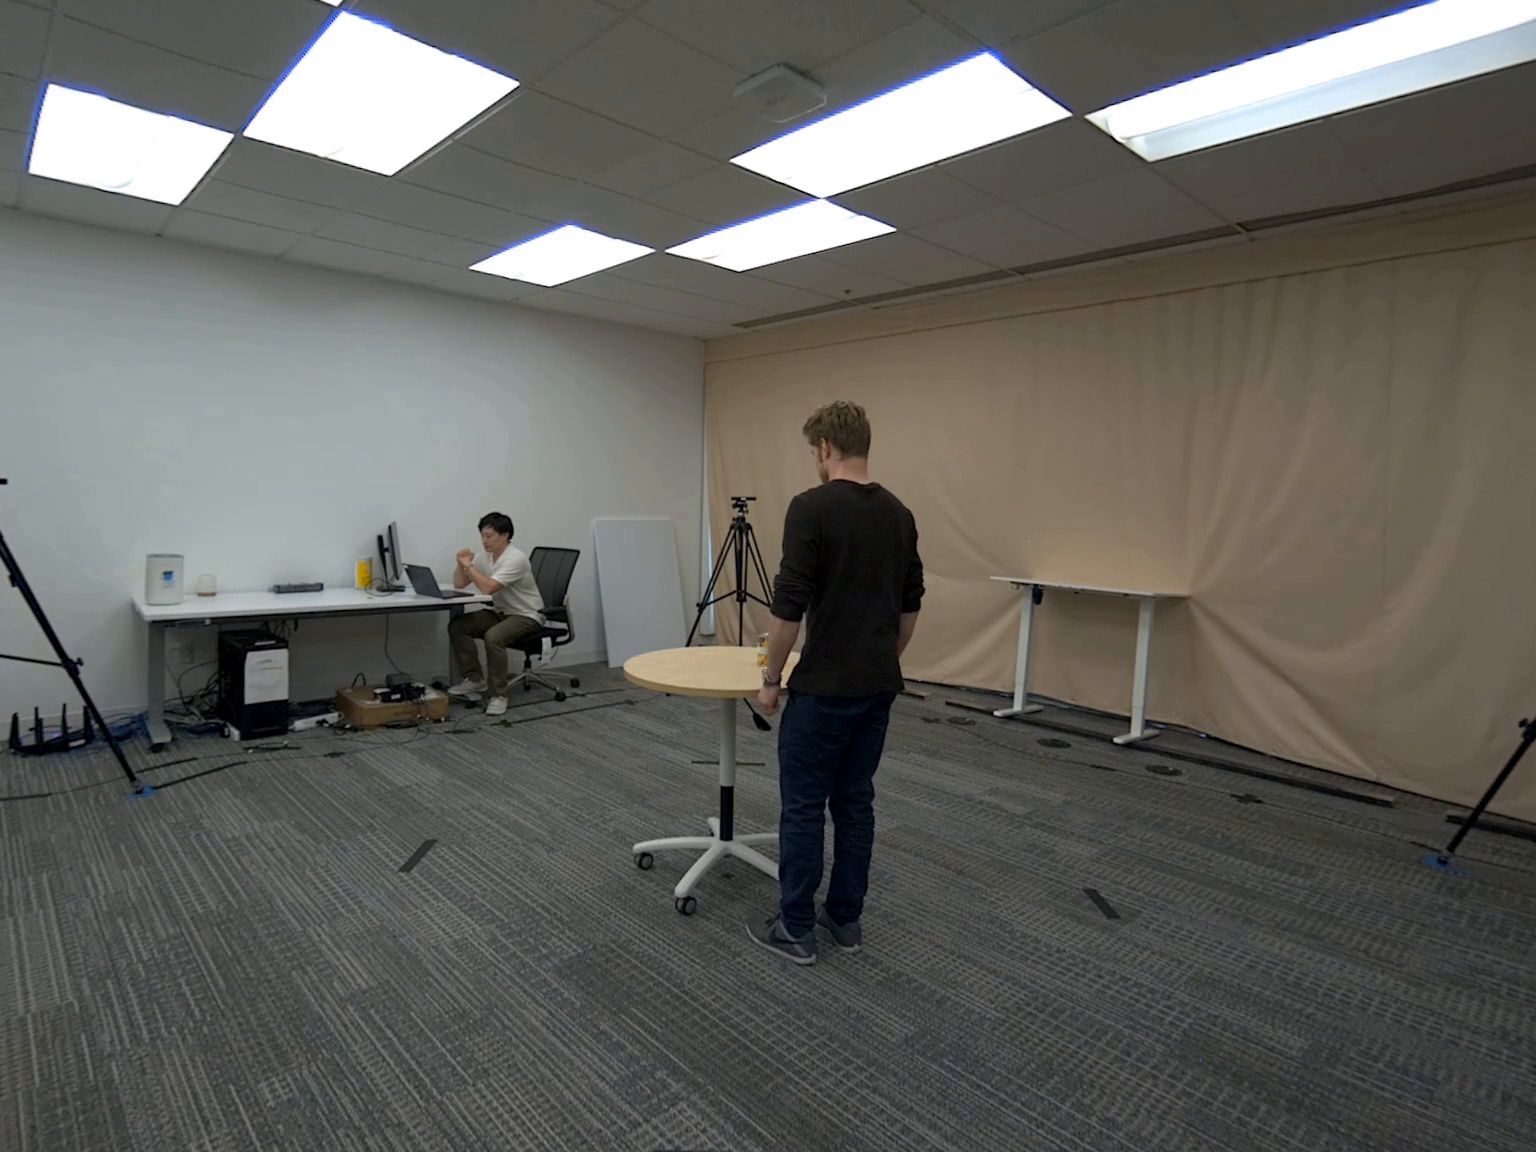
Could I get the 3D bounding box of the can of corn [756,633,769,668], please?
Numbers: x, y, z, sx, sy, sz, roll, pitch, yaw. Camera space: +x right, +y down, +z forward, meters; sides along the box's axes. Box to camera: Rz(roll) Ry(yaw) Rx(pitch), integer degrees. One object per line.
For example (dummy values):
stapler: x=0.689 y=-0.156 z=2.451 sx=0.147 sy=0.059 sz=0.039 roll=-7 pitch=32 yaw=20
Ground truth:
can of corn: x=-0.008 y=0.272 z=3.079 sx=0.074 sy=0.111 sz=0.074 roll=1 pitch=5 yaw=-1
